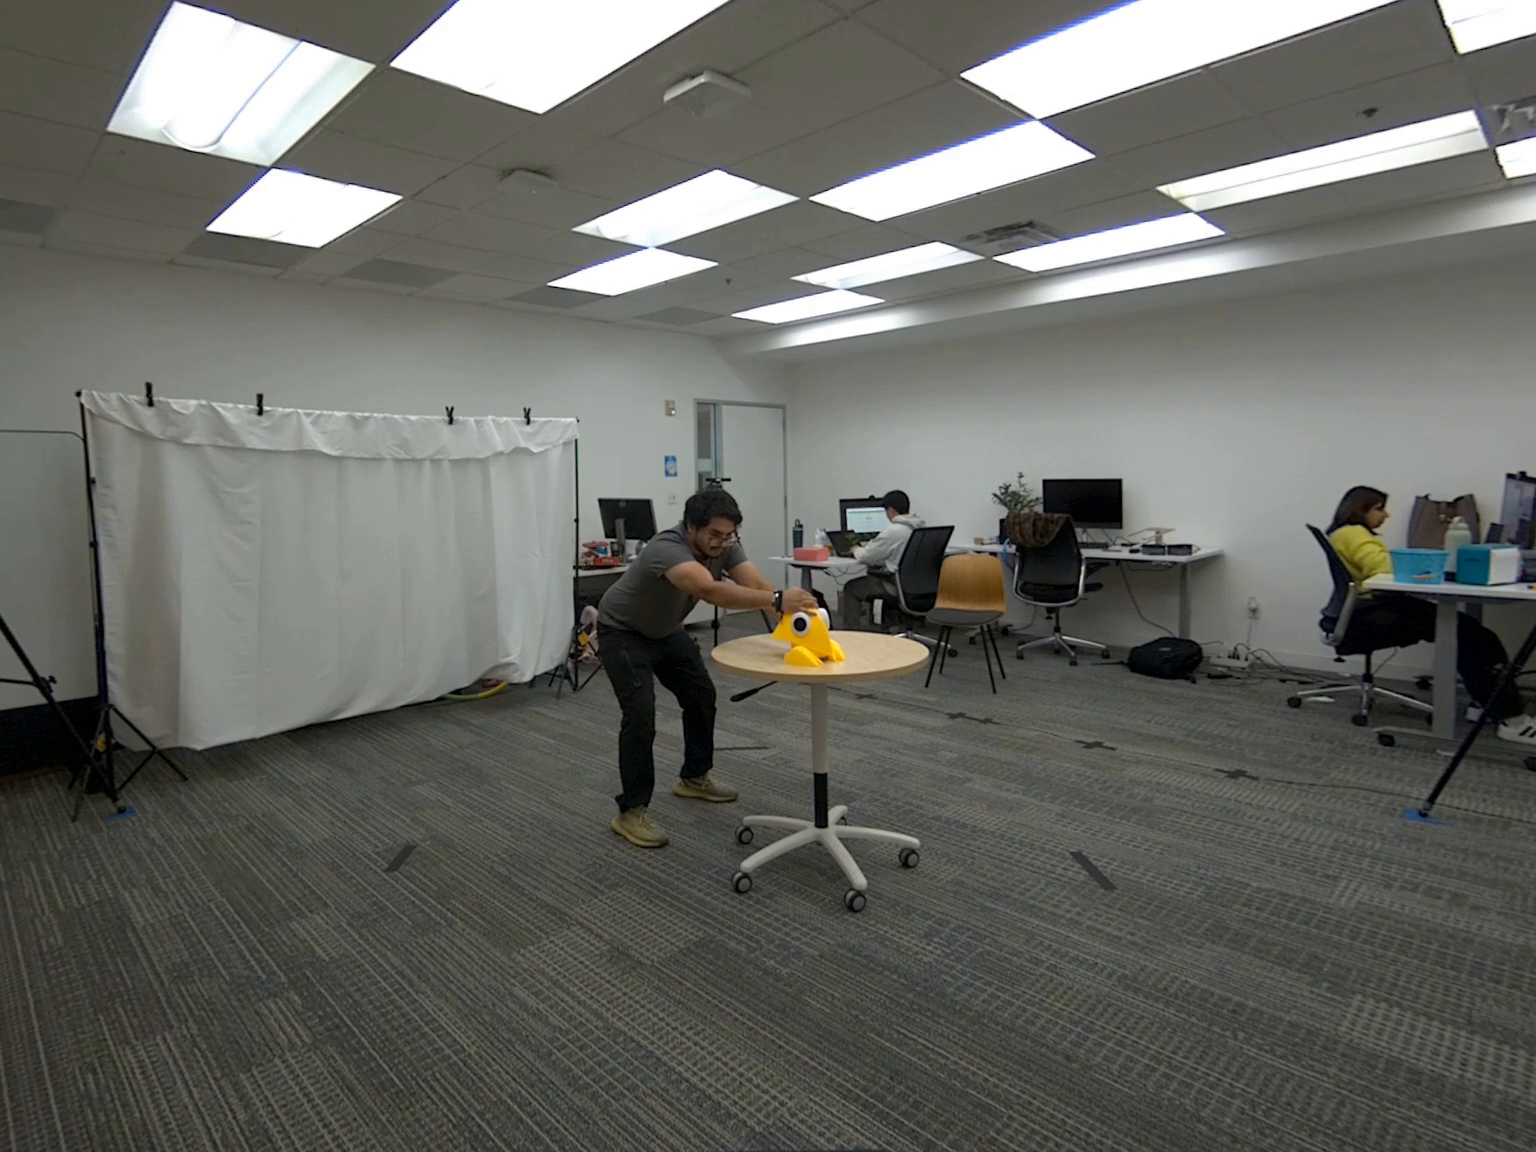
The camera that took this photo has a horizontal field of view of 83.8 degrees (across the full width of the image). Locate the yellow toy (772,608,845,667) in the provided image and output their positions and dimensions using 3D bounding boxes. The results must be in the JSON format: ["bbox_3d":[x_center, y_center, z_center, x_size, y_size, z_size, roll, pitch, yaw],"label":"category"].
[{"bbox_3d":[0.156,0.171,2.884,0.199,0.230,0.199,-5,6,-41],"label":"yellow toy"}]
